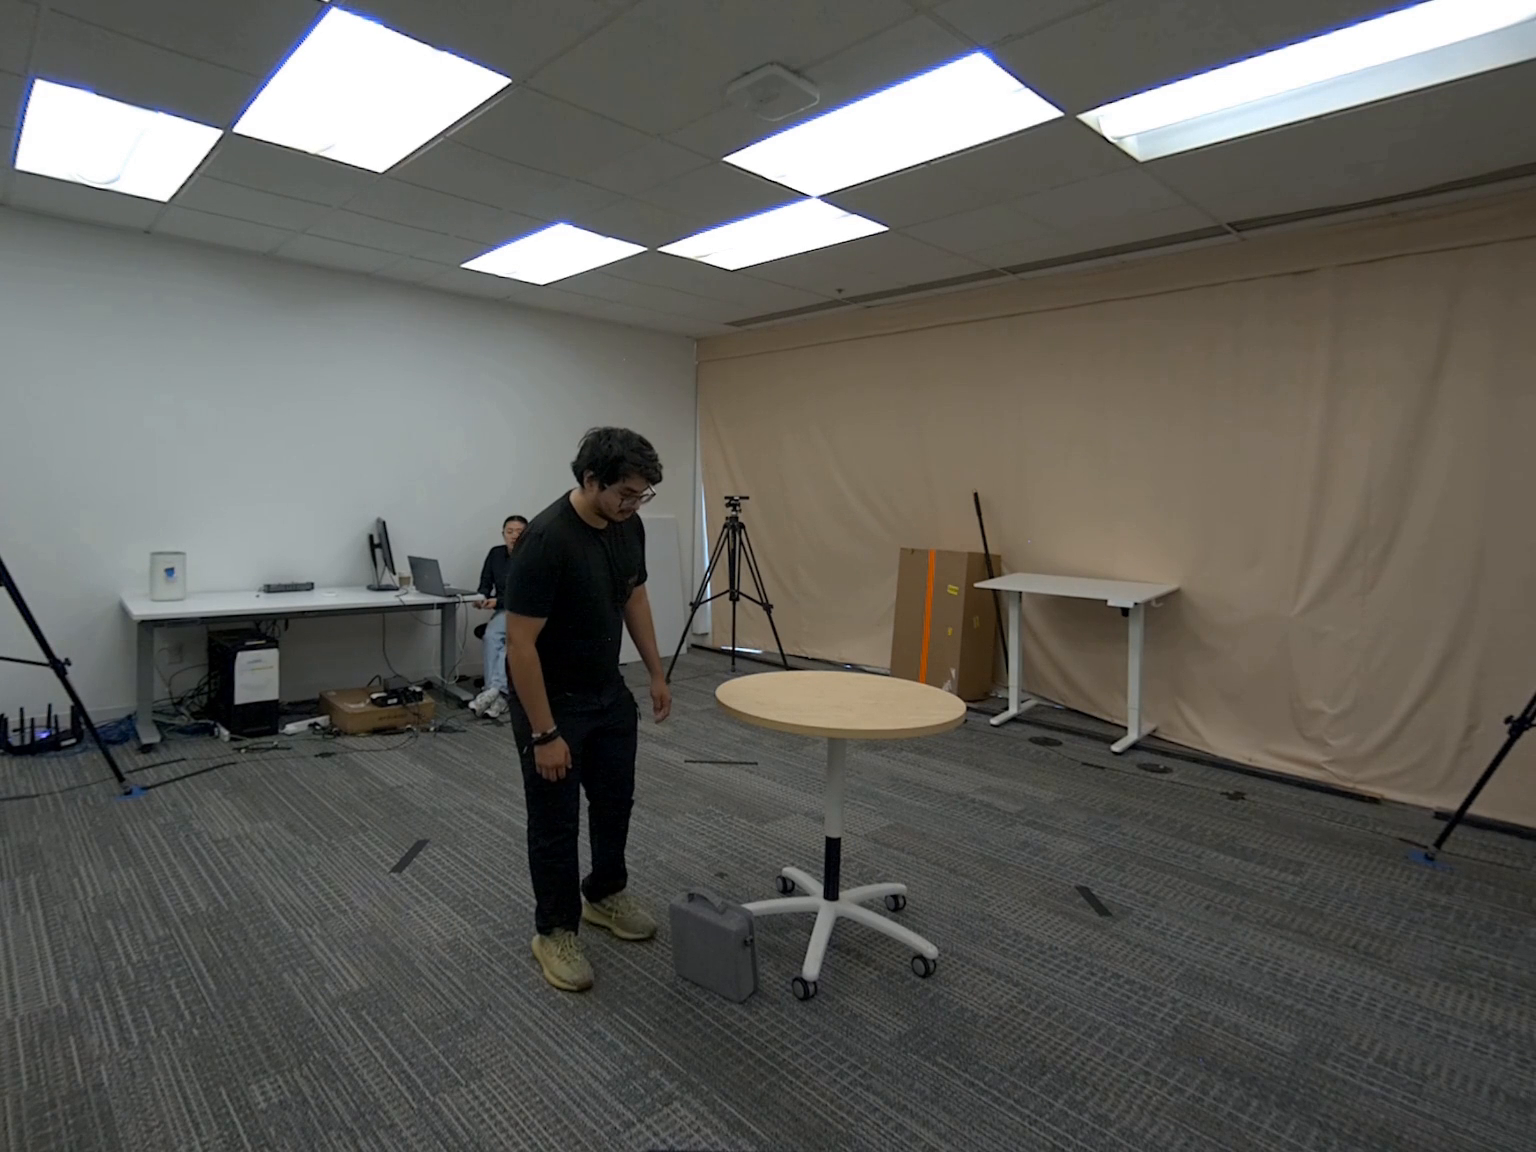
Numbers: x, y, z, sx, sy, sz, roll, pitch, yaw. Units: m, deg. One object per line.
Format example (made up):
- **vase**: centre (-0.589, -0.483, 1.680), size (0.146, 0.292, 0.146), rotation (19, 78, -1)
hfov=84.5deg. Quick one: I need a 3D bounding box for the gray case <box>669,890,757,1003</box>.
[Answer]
- **gray case**: centre (-0.157, 1.045, 2.377), size (0.263, 0.258, 0.102), rotation (5, 13, 37)
